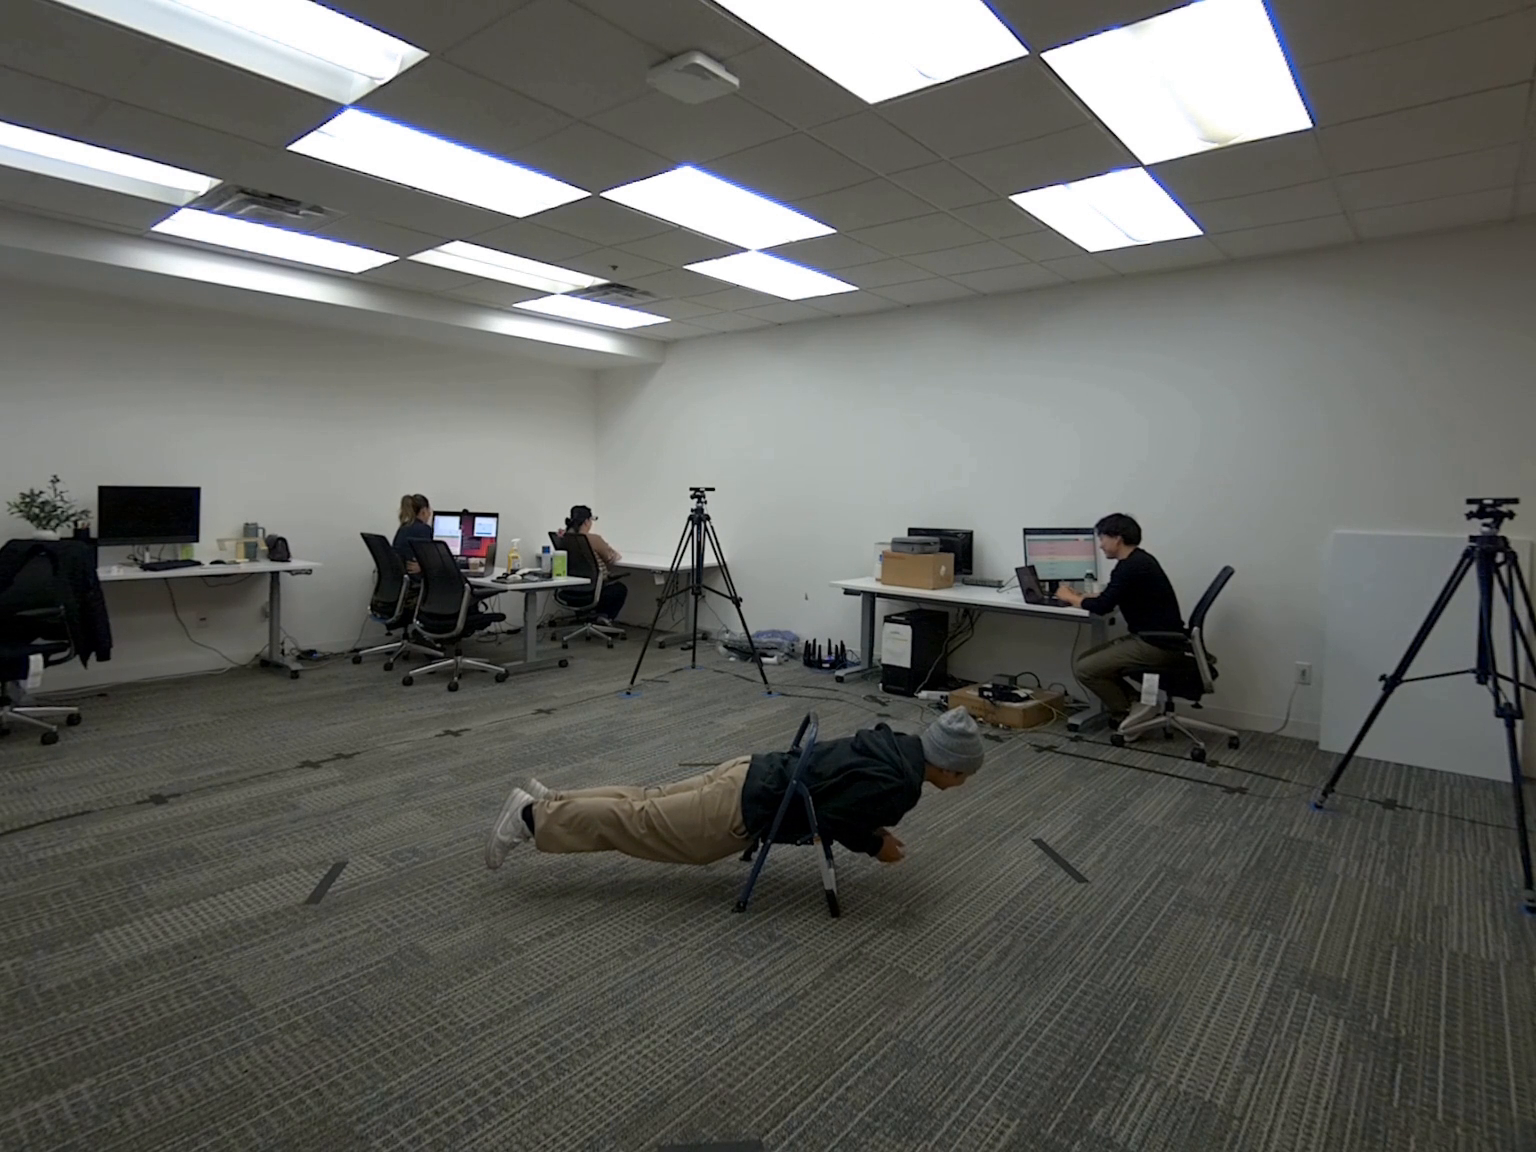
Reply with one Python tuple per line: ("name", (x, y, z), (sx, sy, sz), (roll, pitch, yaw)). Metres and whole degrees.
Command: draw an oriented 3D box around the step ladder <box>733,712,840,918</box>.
("step ladder", (0.069, 0.787, 2.971), (0.350, 0.604, 0.431), (2, 4, 1))
